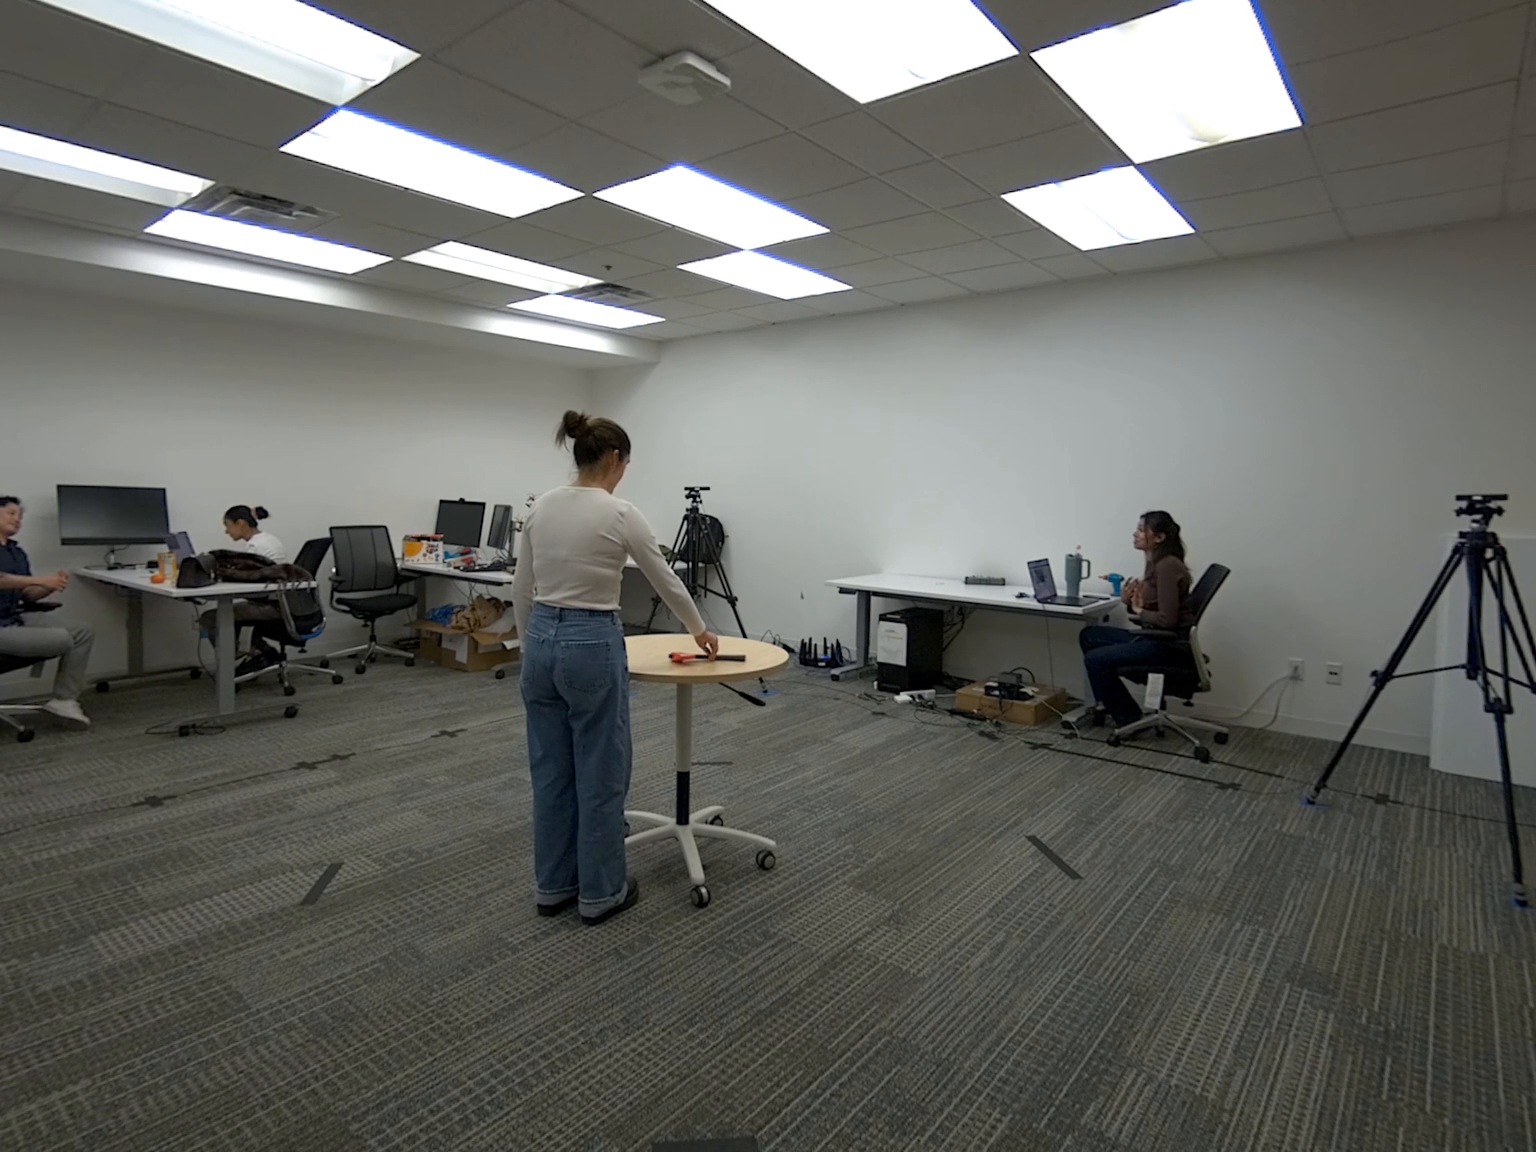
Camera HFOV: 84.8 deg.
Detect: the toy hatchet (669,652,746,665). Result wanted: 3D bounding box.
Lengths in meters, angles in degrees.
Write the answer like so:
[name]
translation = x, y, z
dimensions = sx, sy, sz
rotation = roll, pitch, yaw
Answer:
[toy hatchet]
translation = -0.216, 0.280, 2.964
dimensions = 0.270, 0.030, 0.130
rotation = -2, -7, 0
